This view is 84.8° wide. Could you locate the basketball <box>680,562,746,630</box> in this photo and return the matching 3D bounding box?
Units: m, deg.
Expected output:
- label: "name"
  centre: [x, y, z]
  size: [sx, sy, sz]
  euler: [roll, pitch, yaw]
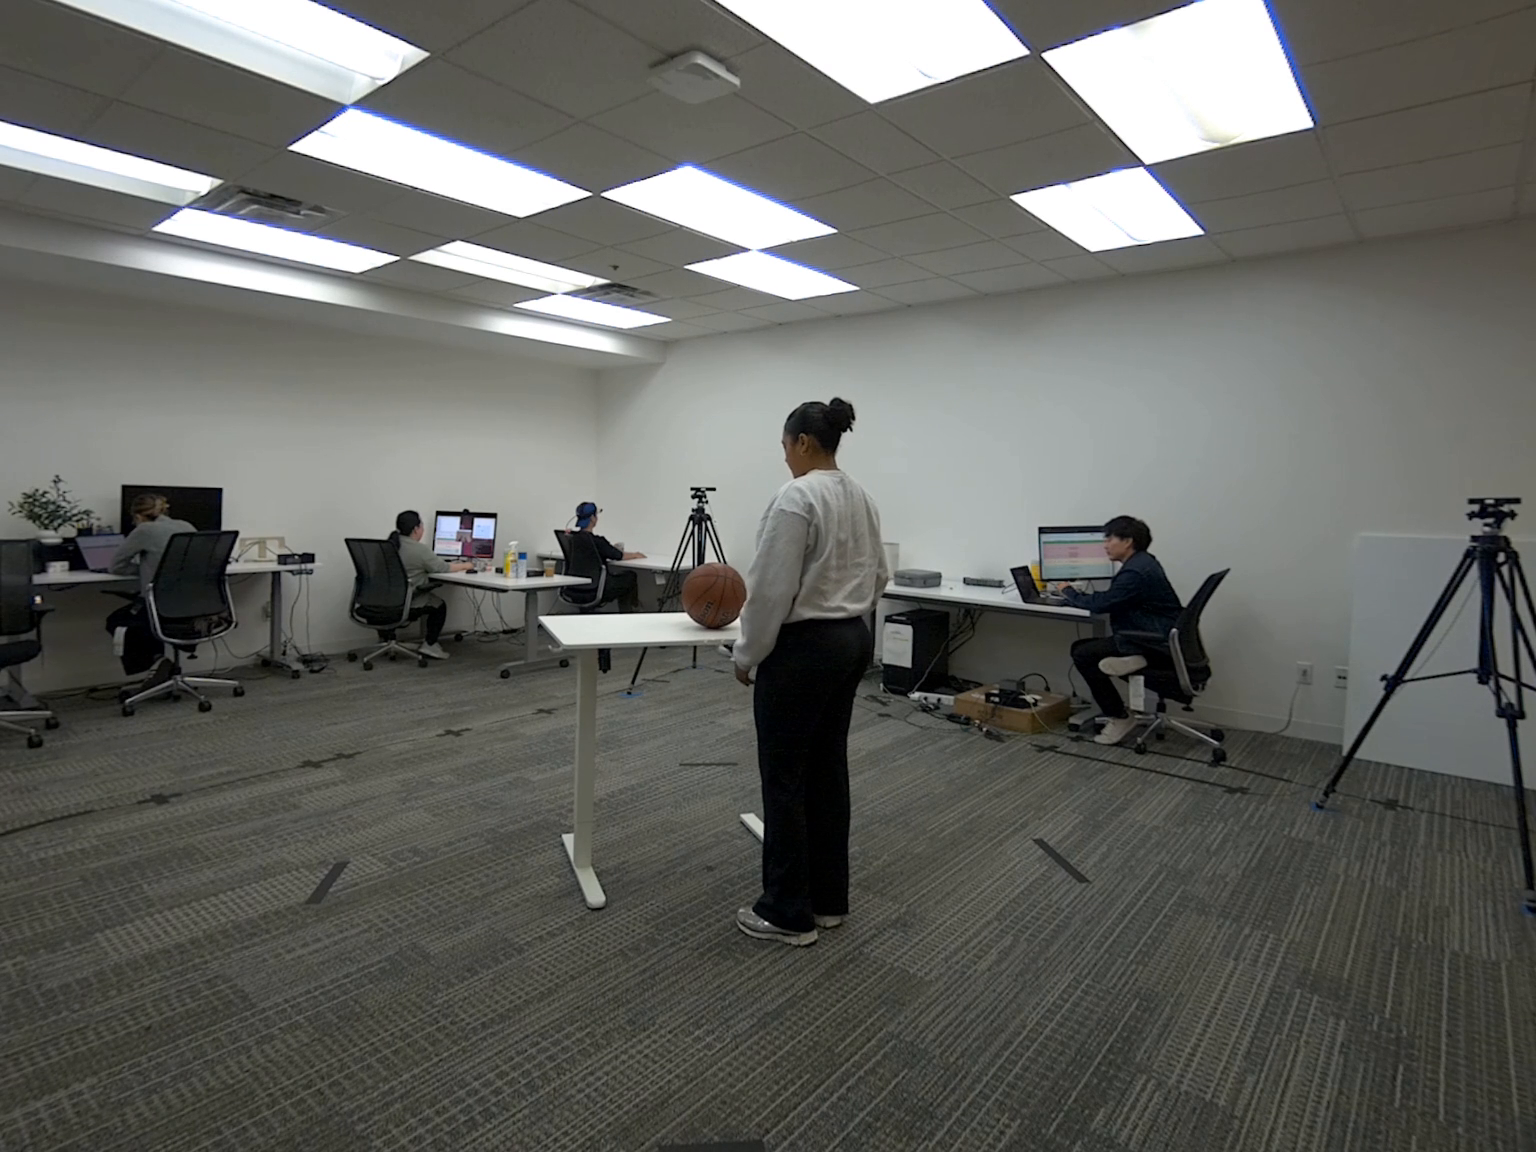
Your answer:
- label: "basketball"
  centre: [-0.207, 0.068, 3.098]
  size: [0.235, 0.235, 0.237]
  euler: [1, 4, -2]
